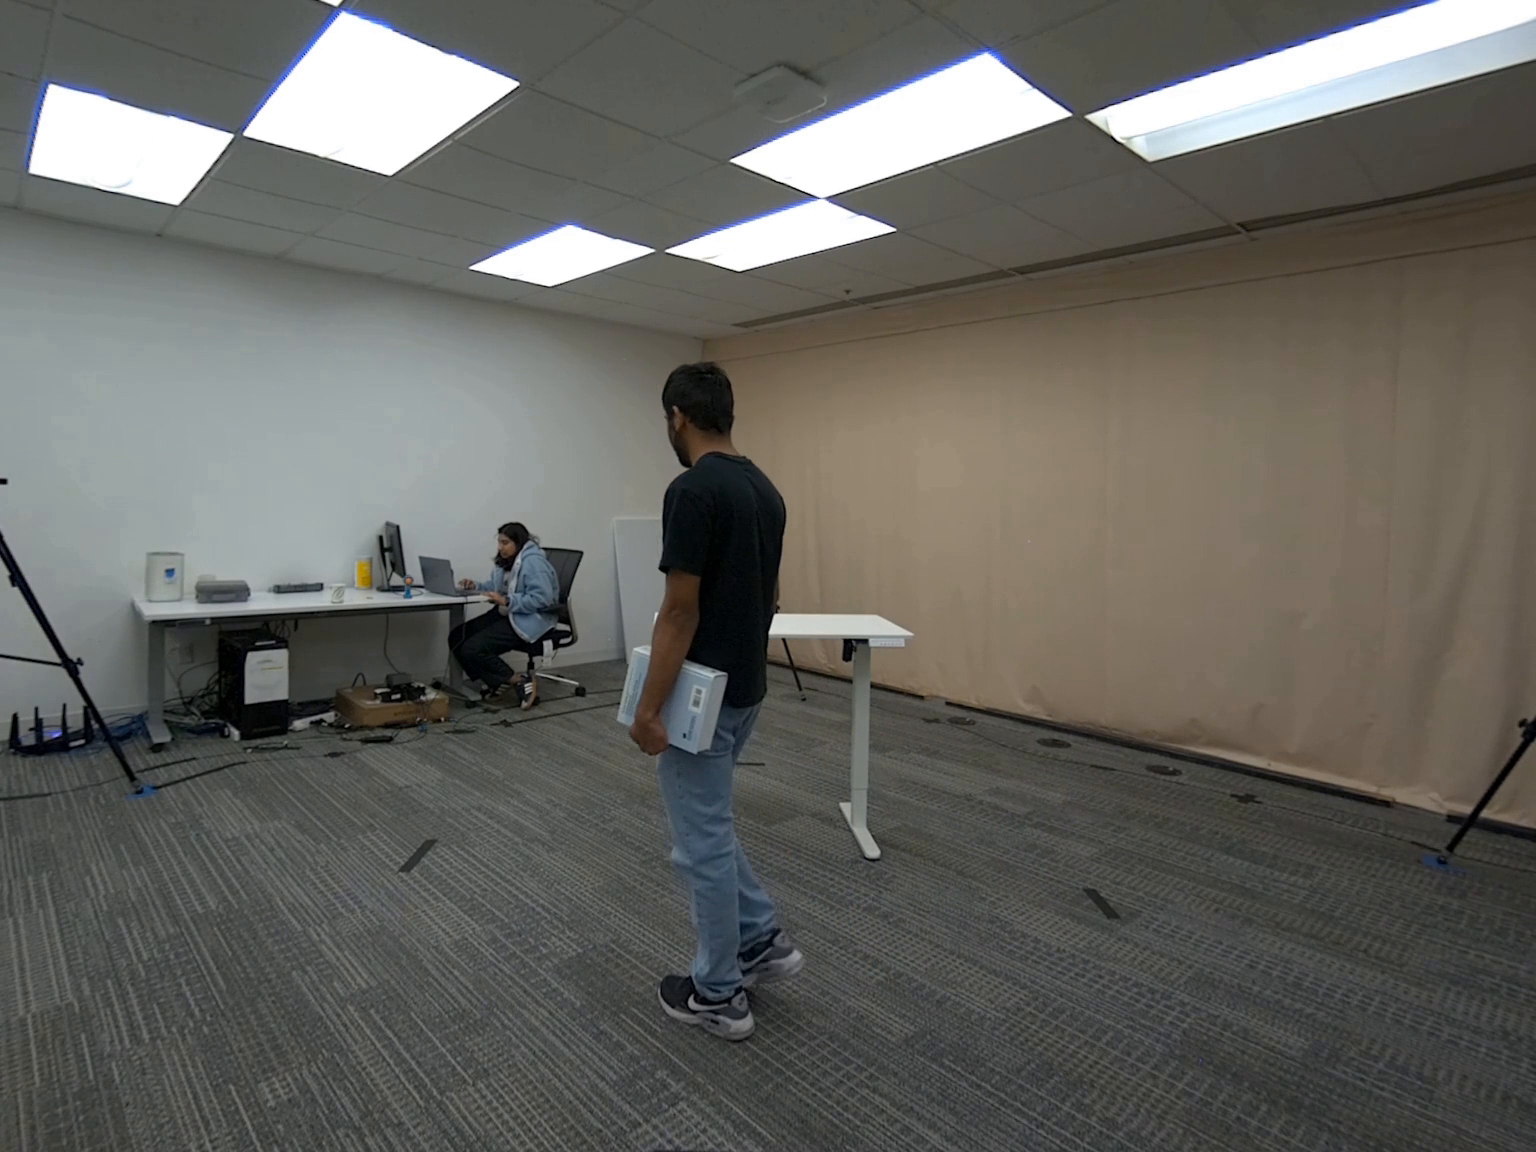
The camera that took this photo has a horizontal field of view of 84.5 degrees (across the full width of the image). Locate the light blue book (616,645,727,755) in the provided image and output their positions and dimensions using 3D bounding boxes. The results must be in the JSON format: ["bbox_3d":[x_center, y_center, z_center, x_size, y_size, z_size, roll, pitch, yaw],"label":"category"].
[{"bbox_3d":[-0.239,0.295,2.049,0.268,0.191,0.057,13,-1,35],"label":"light blue book"}]
